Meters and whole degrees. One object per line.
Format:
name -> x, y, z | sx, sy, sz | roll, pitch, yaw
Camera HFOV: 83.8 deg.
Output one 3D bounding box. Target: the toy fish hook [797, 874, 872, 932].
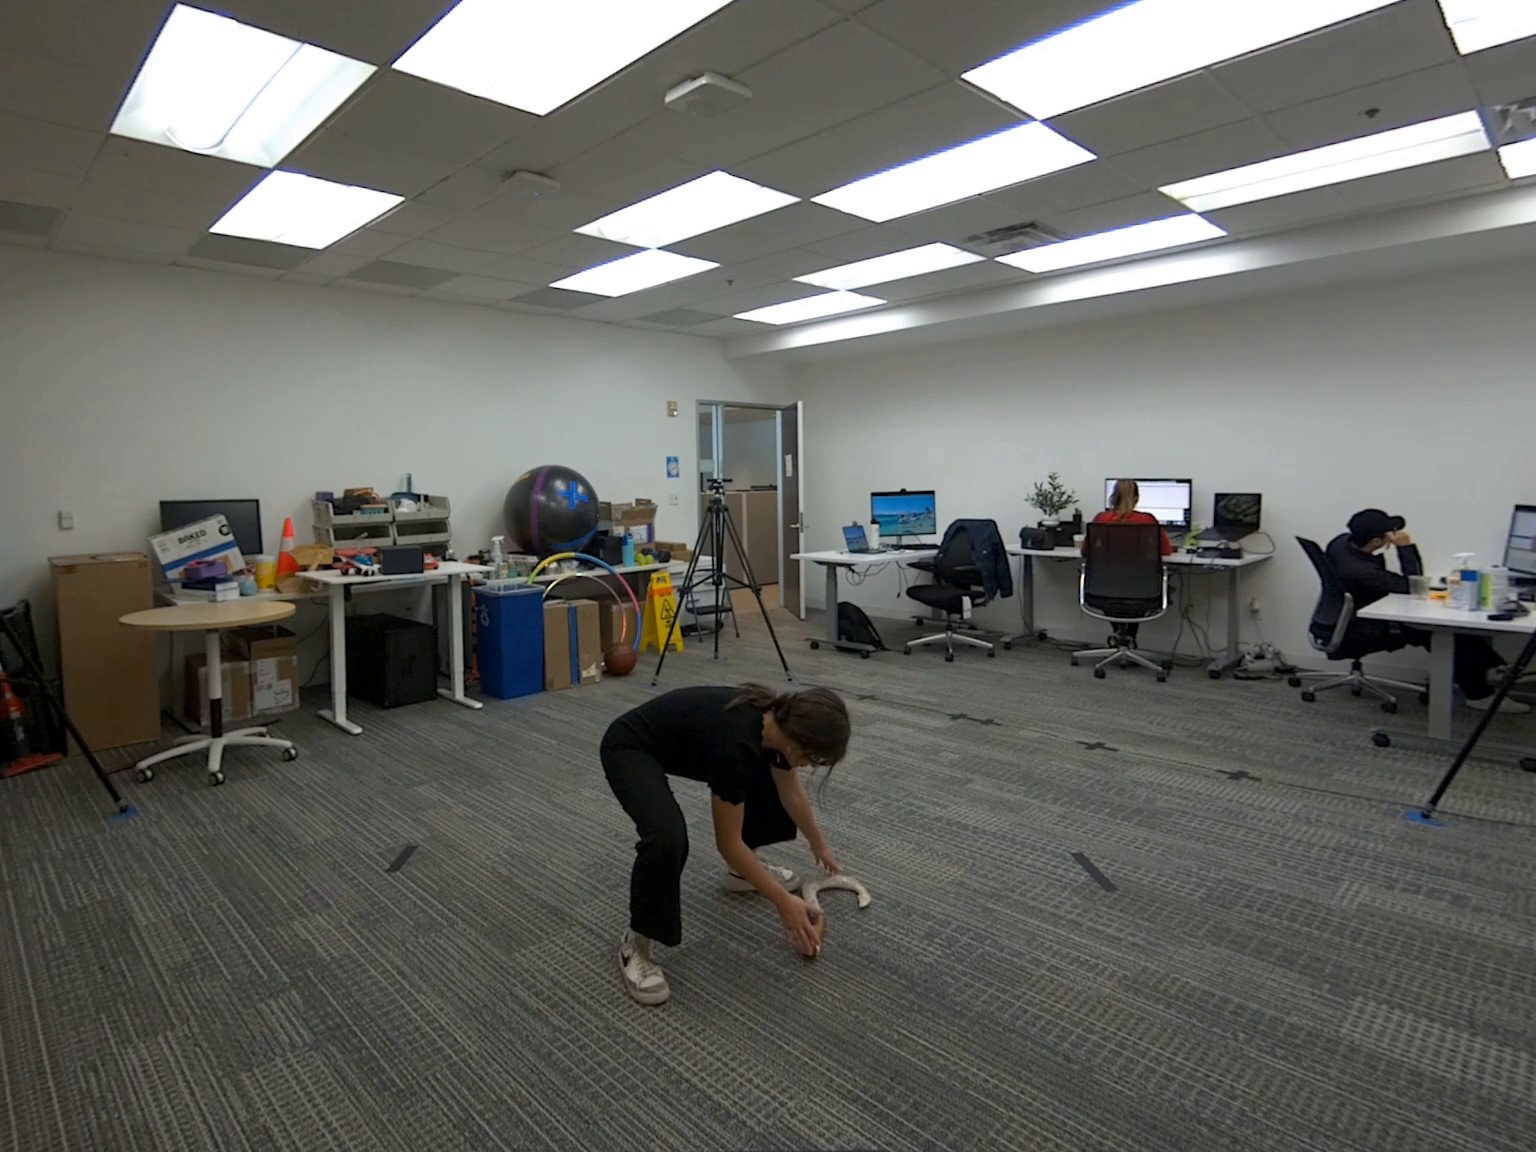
toy fish hook -> 0.211, 1.067, 2.698 | 0.227, 0.048, 0.504 | -2, 6, 8
